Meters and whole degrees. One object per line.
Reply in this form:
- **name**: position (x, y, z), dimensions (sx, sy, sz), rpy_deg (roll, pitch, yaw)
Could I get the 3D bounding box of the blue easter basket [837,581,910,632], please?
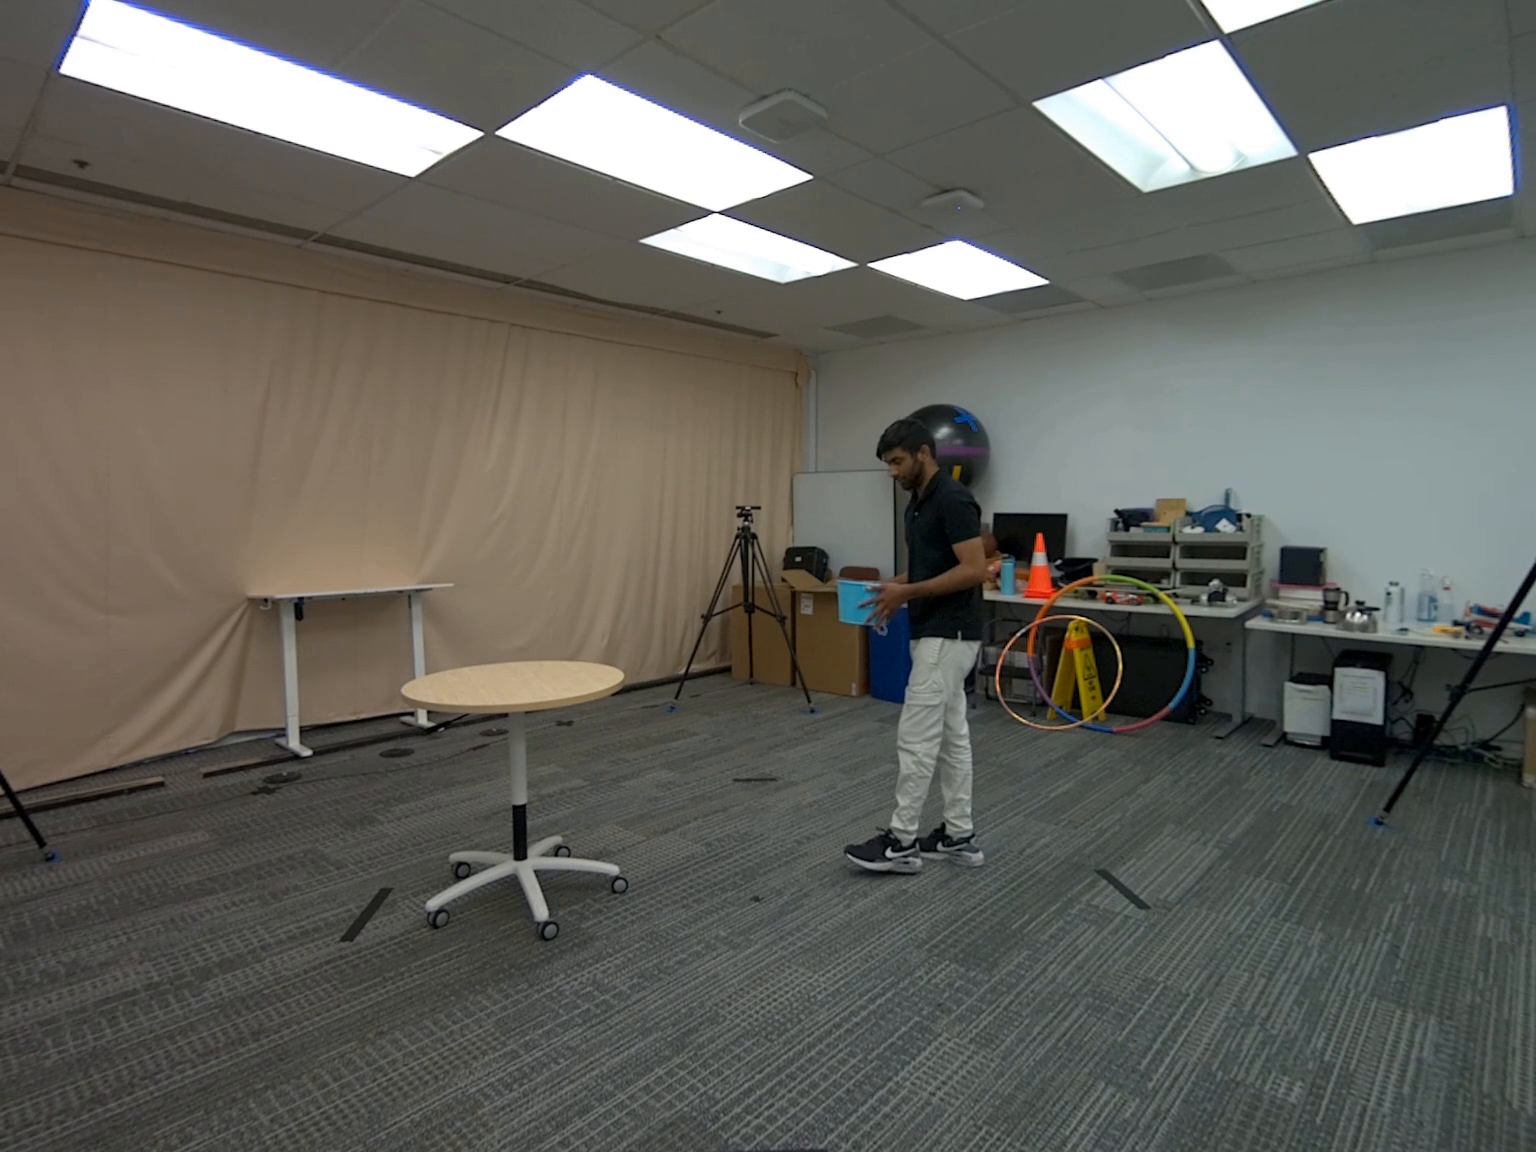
- **blue easter basket**: position (0.407, 0.110, 3.232), dimensions (0.243, 0.156, 0.244), rpy_deg (4, 2, -2)
